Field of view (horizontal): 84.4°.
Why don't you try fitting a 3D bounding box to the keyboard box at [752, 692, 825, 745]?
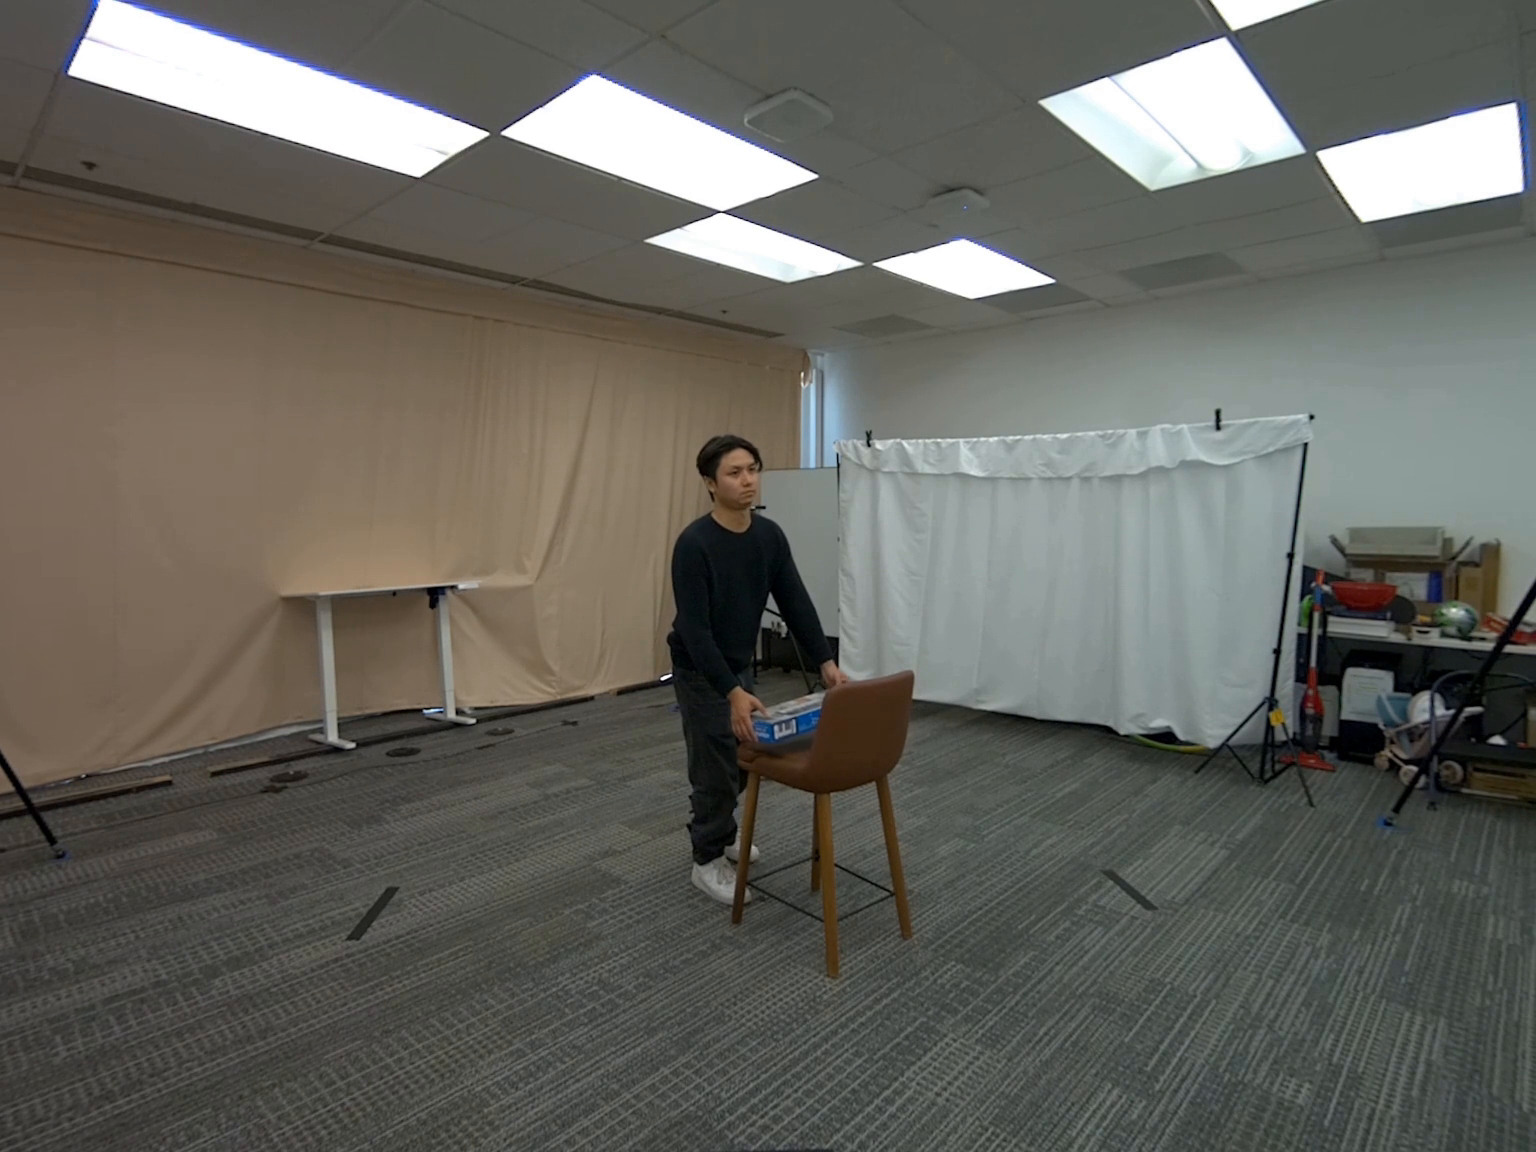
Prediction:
[{"bbox_3d":[0.117,0.446,2.742,0.425,0.059,0.181,-10,6,-38],"label":"keyboard box"}]
